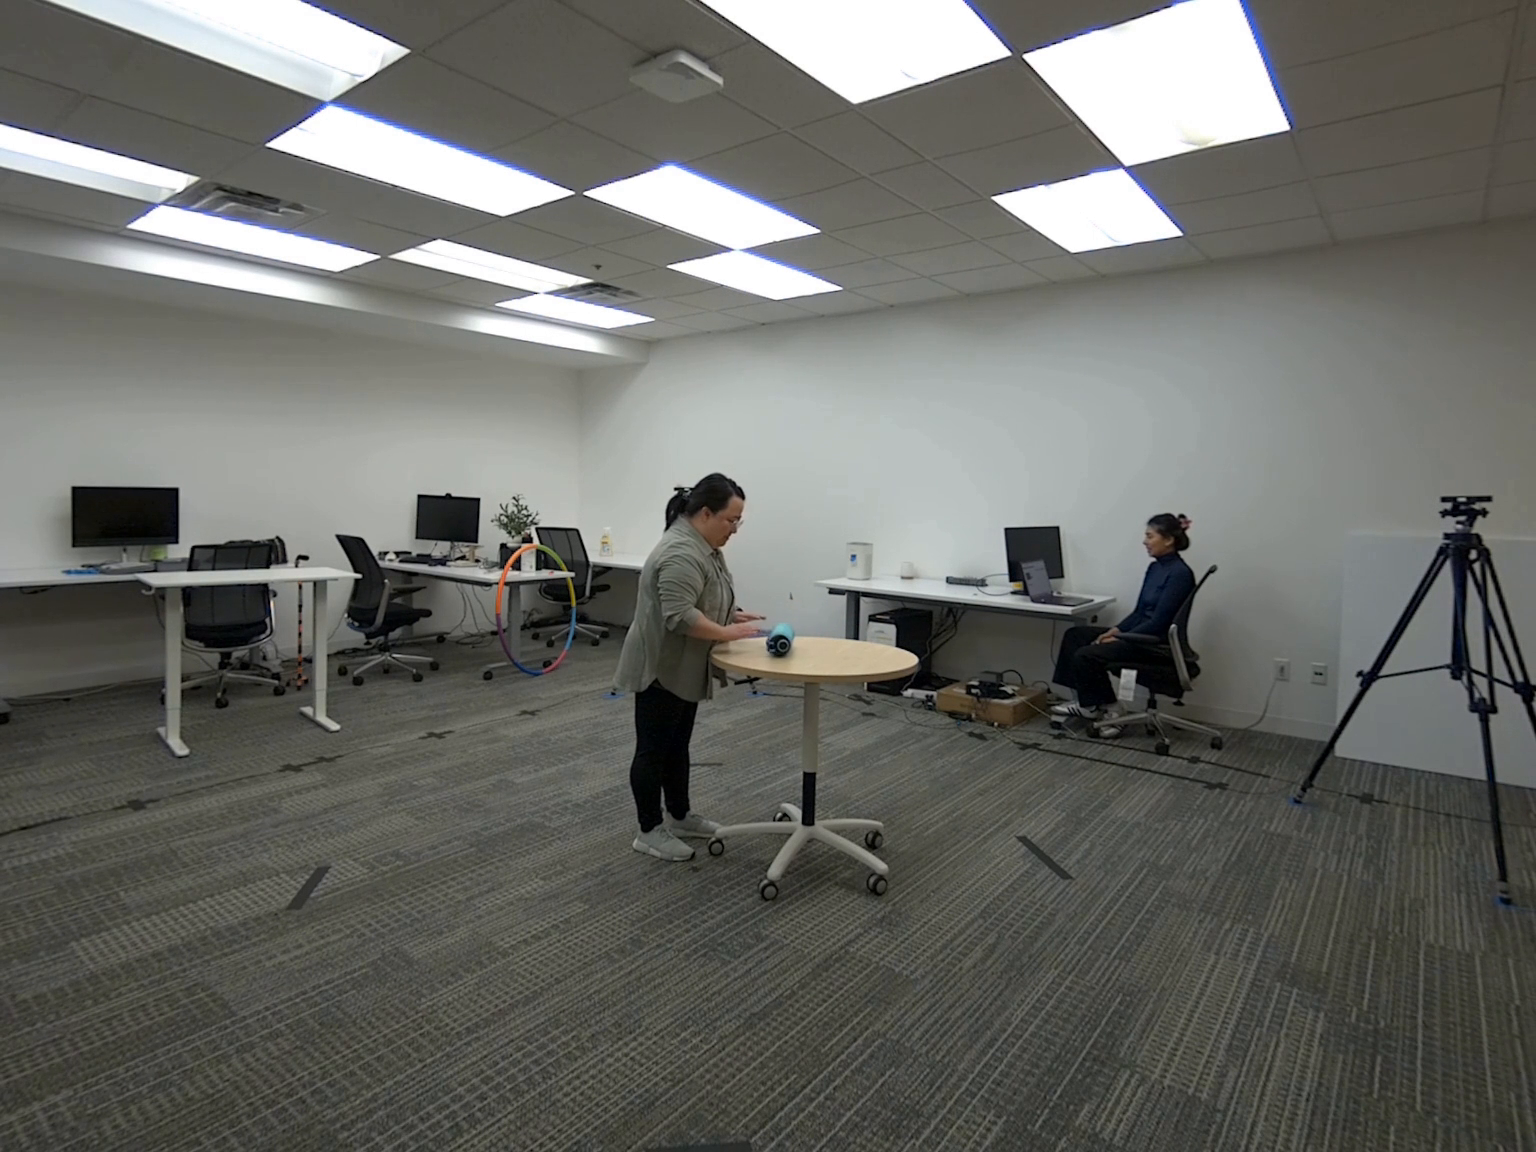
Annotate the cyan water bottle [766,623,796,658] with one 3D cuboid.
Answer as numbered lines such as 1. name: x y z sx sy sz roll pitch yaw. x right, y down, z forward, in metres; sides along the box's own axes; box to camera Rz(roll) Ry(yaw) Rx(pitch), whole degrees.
1. cyan water bottle: 0.041 0.239 3.189 0.093 0.092 0.282 1 6 5
